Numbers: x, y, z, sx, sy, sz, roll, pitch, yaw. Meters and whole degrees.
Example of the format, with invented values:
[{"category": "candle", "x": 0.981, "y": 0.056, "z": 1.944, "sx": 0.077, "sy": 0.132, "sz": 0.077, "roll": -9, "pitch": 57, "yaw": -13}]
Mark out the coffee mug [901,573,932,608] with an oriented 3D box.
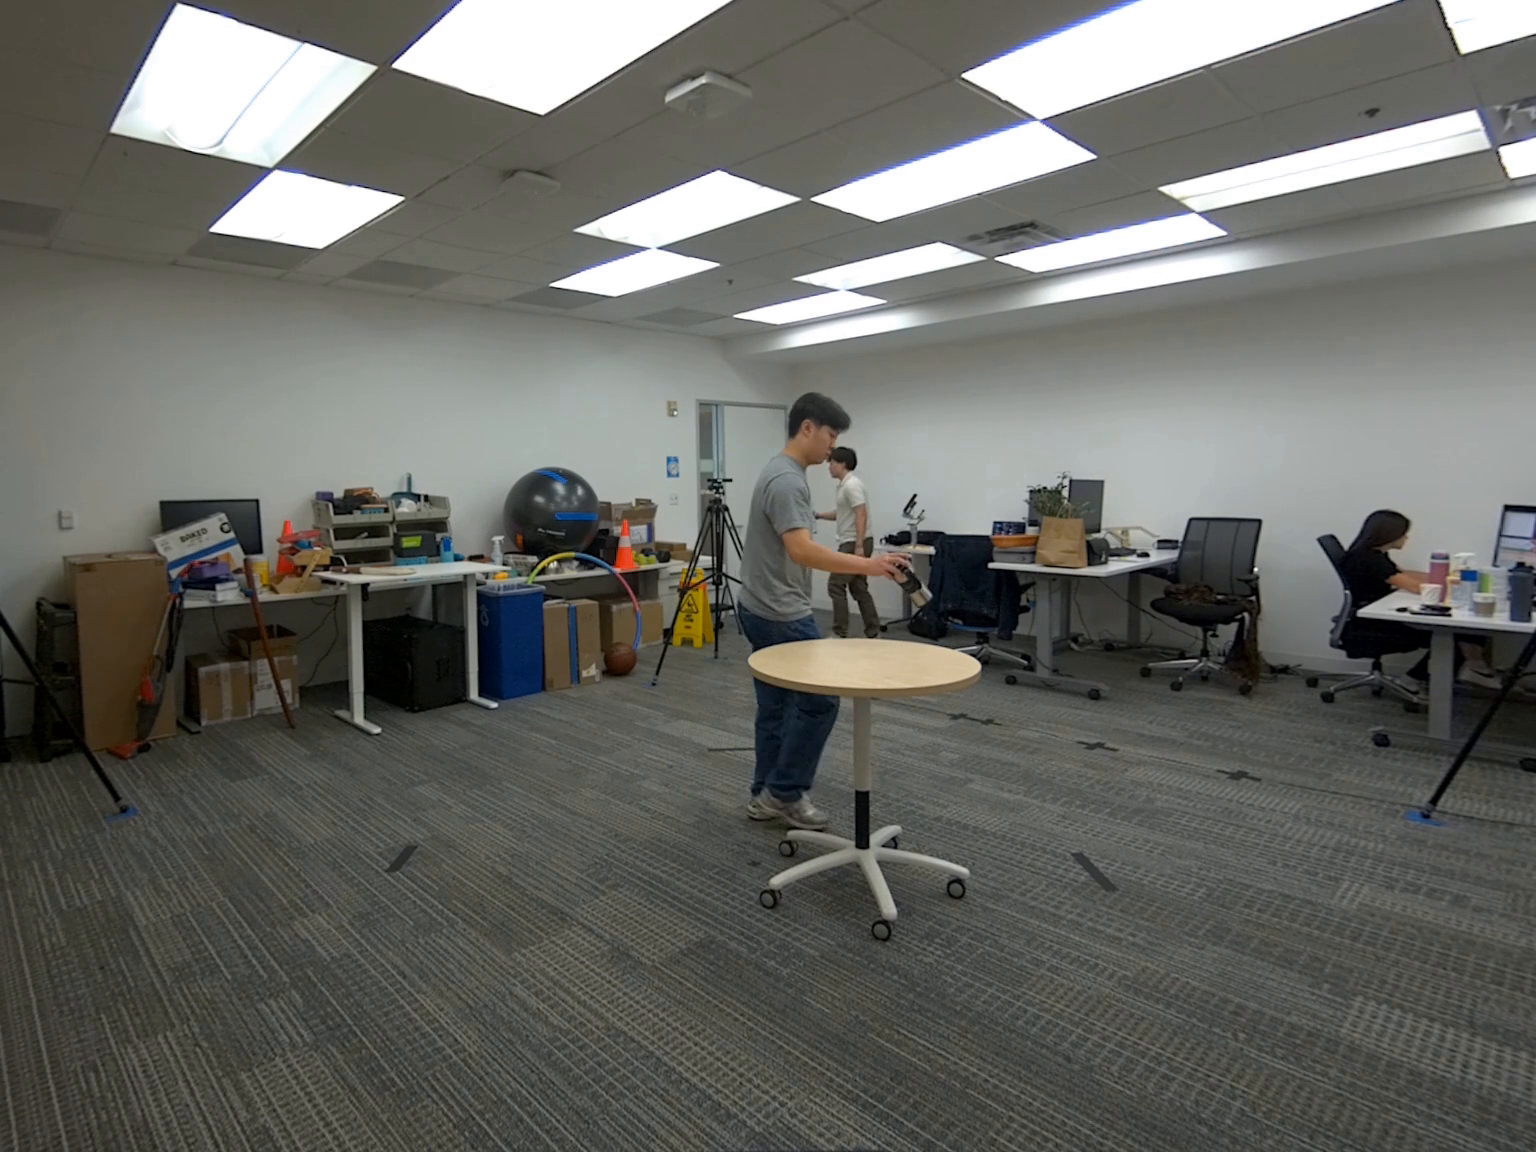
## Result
[{"category": "coffee mug", "x": 0.510, "y": 0.038, "z": 3.071, "sx": 0.088, "sy": 0.199, "sz": 0.123, "roll": -33, "pitch": 14, "yaw": 20}]
